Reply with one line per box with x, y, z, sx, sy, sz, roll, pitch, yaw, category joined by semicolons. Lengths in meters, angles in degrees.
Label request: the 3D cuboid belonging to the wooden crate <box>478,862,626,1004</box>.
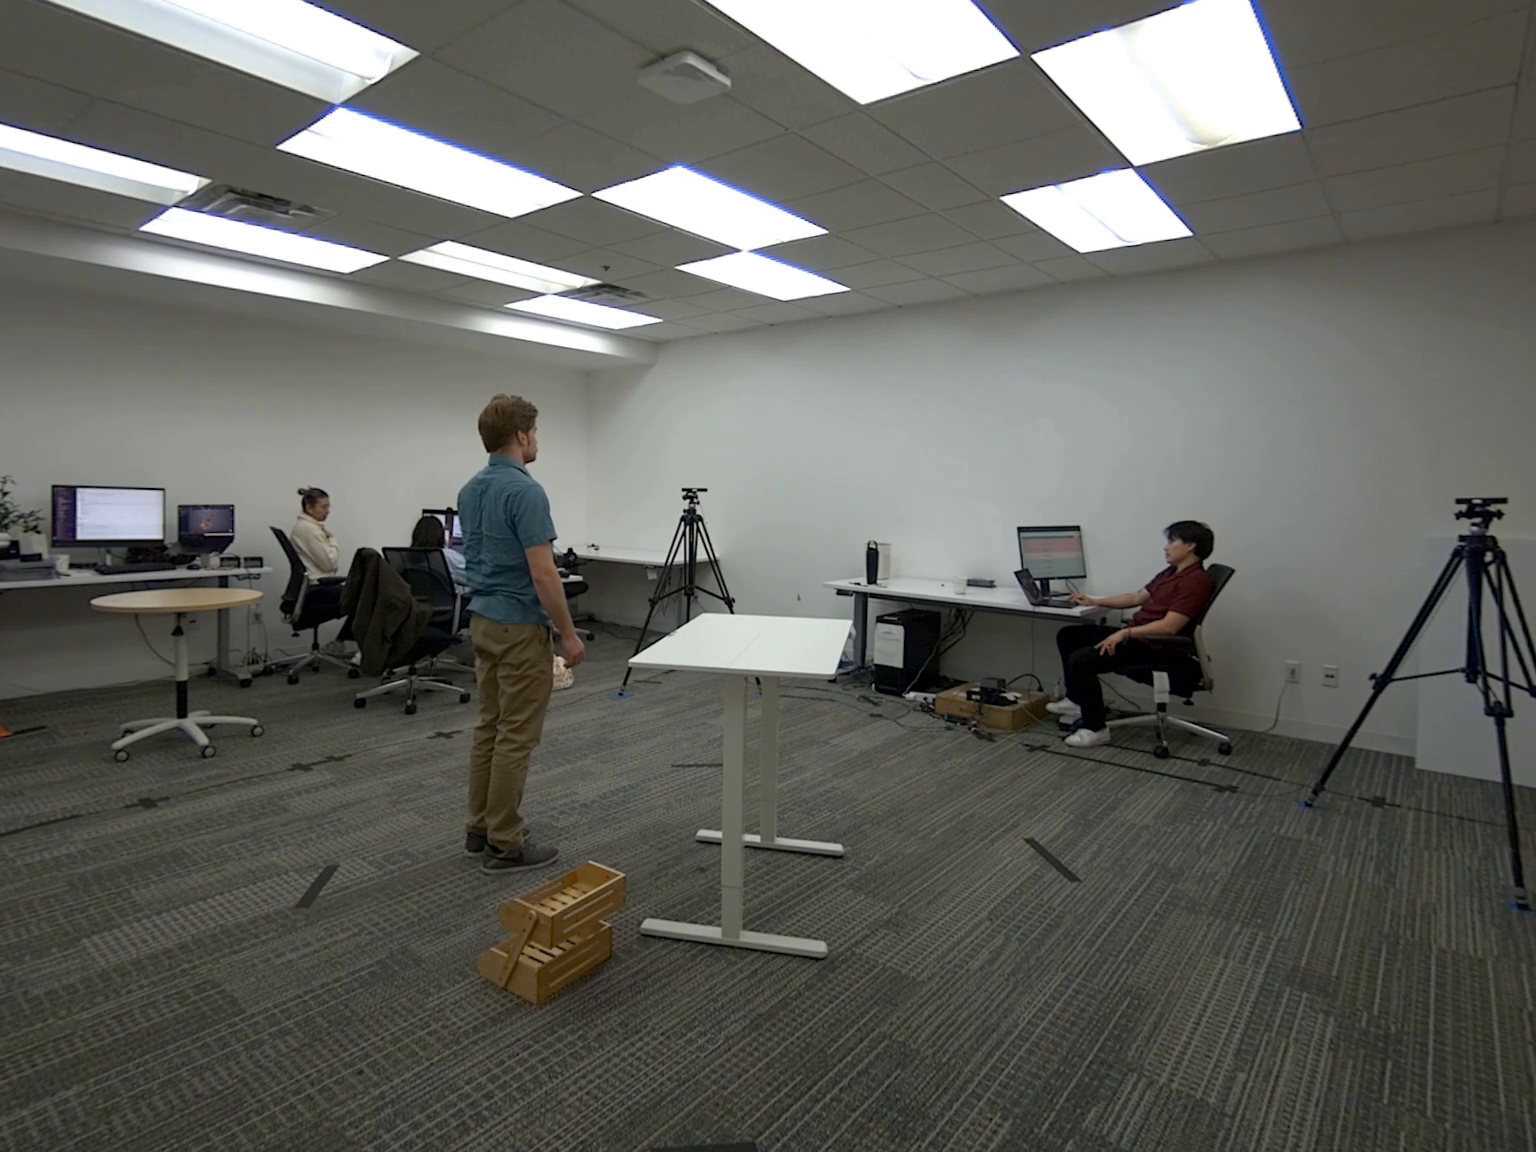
-0.632;0.996;2.447;0.311;0.272;0.315;5;5;33;wooden crate
